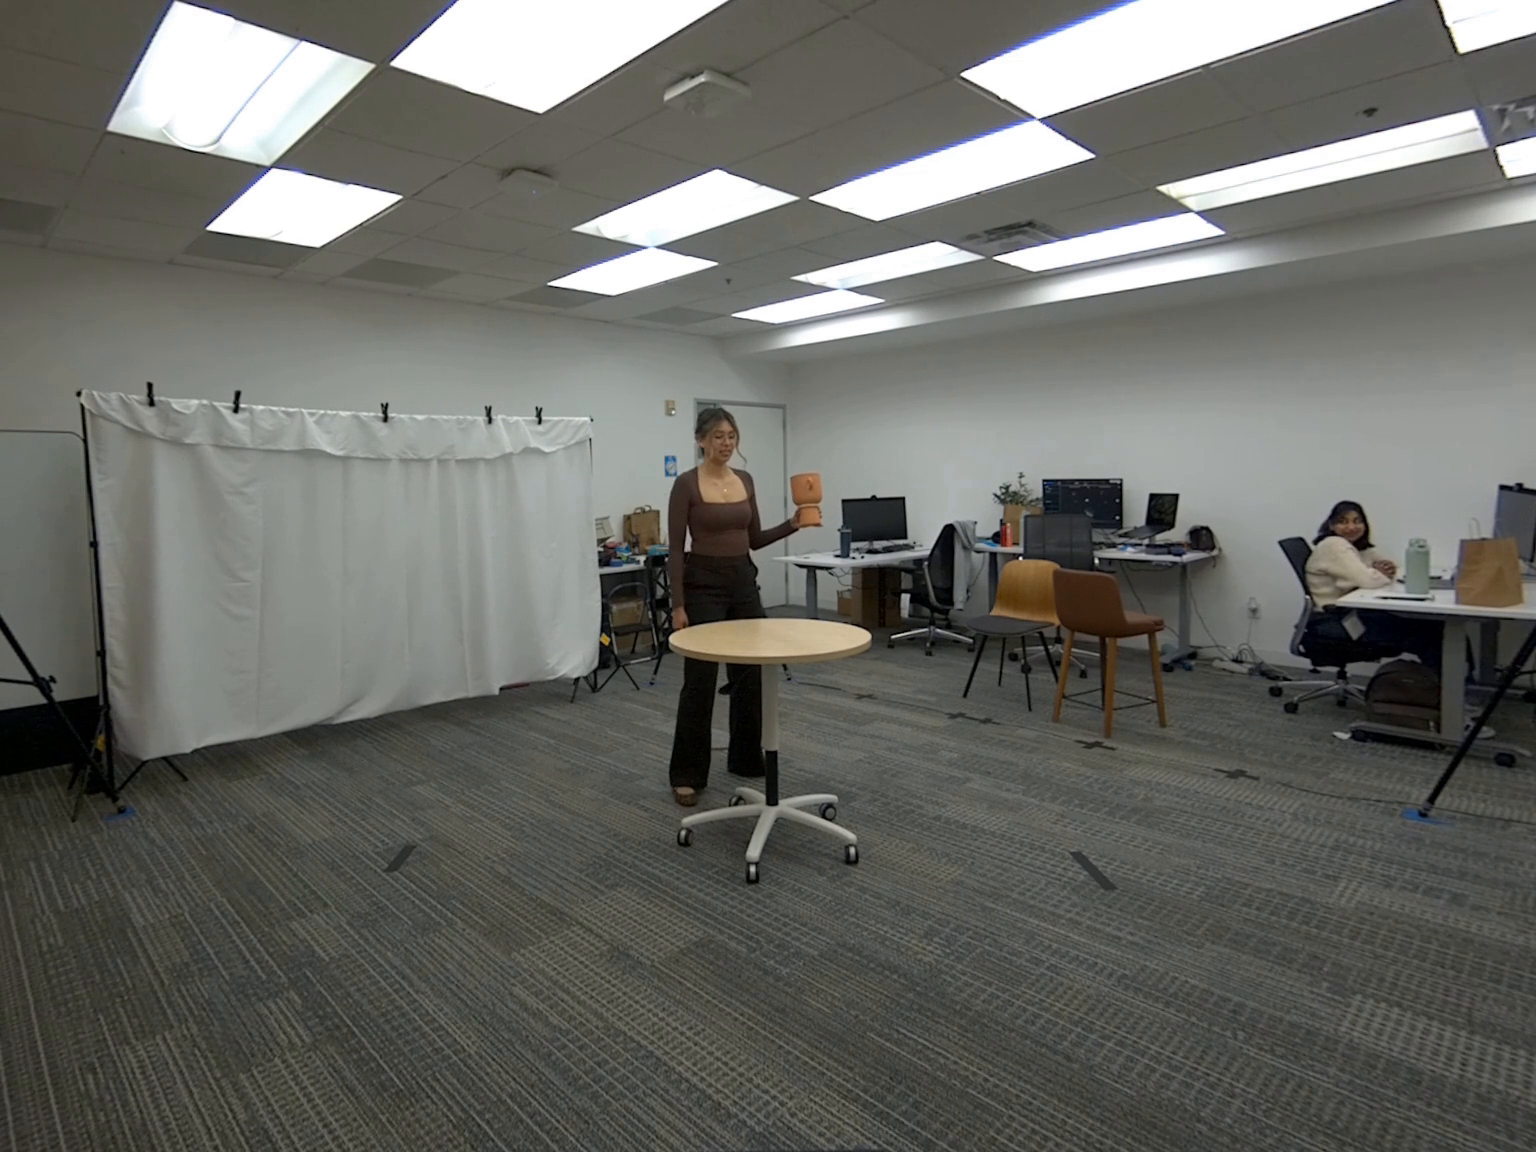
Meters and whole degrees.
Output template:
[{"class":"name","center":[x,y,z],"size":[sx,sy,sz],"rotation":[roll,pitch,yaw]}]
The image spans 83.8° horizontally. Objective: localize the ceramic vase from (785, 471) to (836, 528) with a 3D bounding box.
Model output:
[{"class":"ceramic vase","center":[0.186,-0.336,3.756],"size":[0.137,0.221,0.154],"rotation":[-9,-5,31]}]
